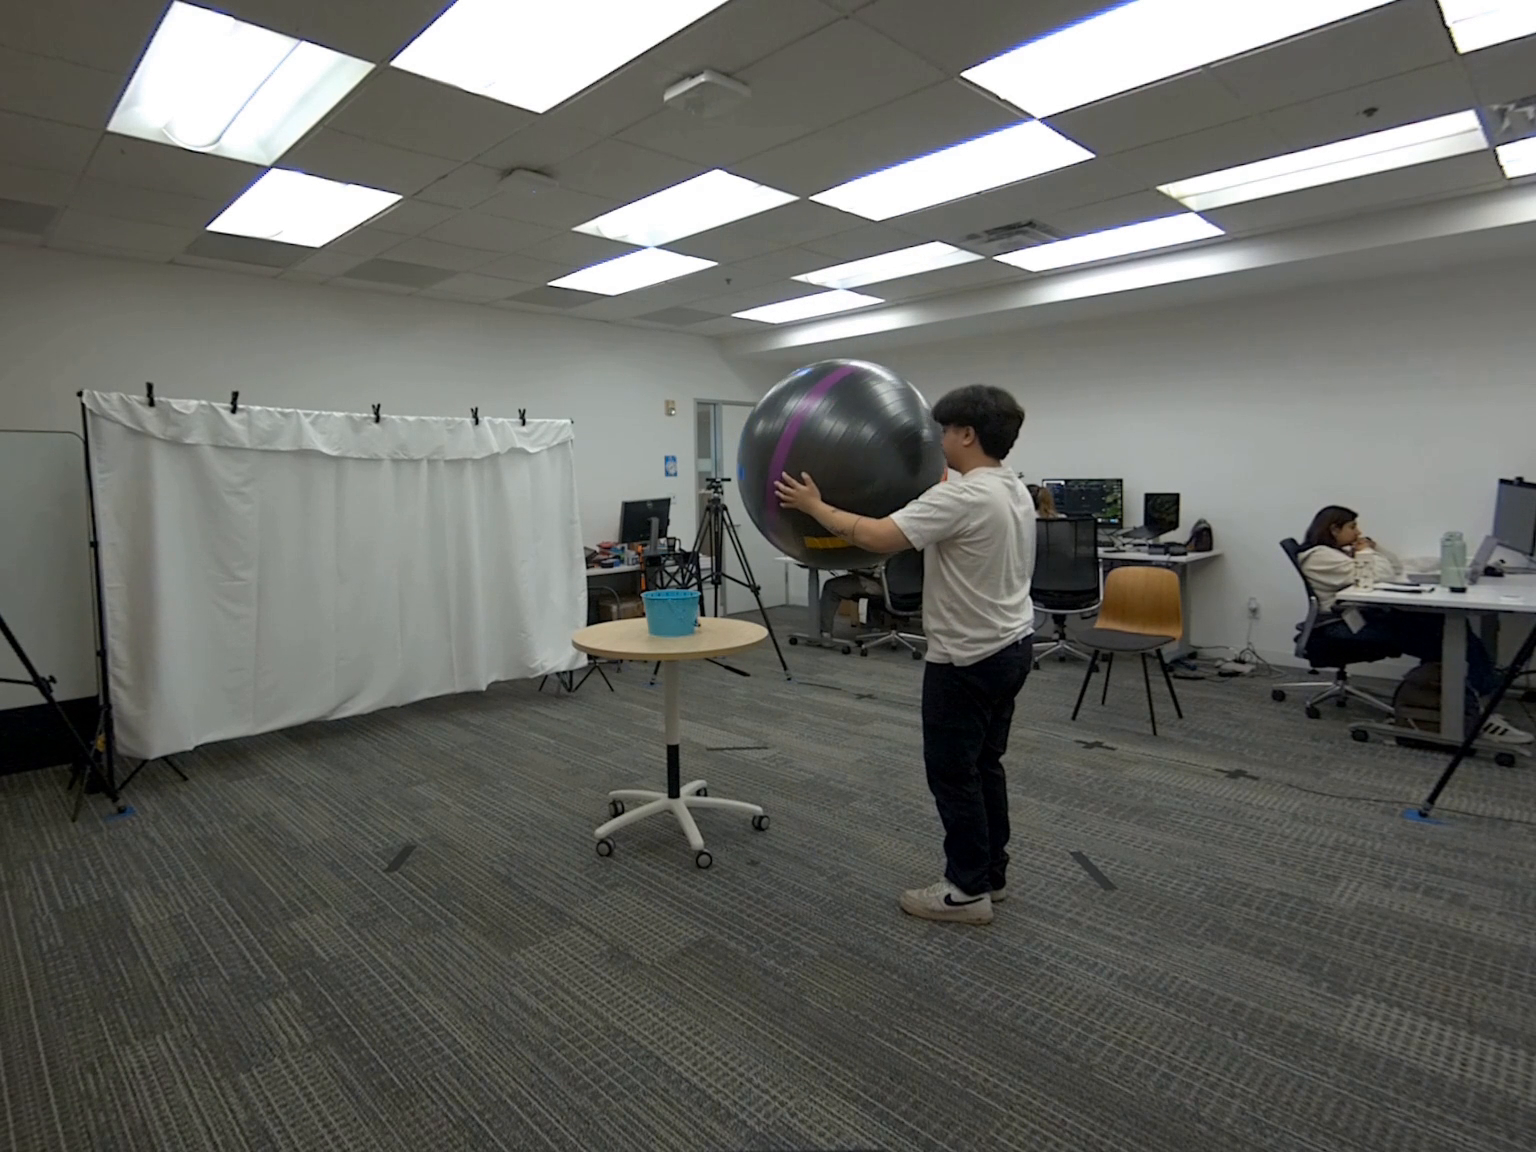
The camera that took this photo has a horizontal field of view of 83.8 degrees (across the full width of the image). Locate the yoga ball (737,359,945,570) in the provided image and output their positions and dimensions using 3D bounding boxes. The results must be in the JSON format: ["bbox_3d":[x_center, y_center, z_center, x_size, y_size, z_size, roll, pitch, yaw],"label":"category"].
[{"bbox_3d":[0.266,-0.396,3.114,0.757,0.755,0.762,-1,5,-2],"label":"yoga ball"}]
